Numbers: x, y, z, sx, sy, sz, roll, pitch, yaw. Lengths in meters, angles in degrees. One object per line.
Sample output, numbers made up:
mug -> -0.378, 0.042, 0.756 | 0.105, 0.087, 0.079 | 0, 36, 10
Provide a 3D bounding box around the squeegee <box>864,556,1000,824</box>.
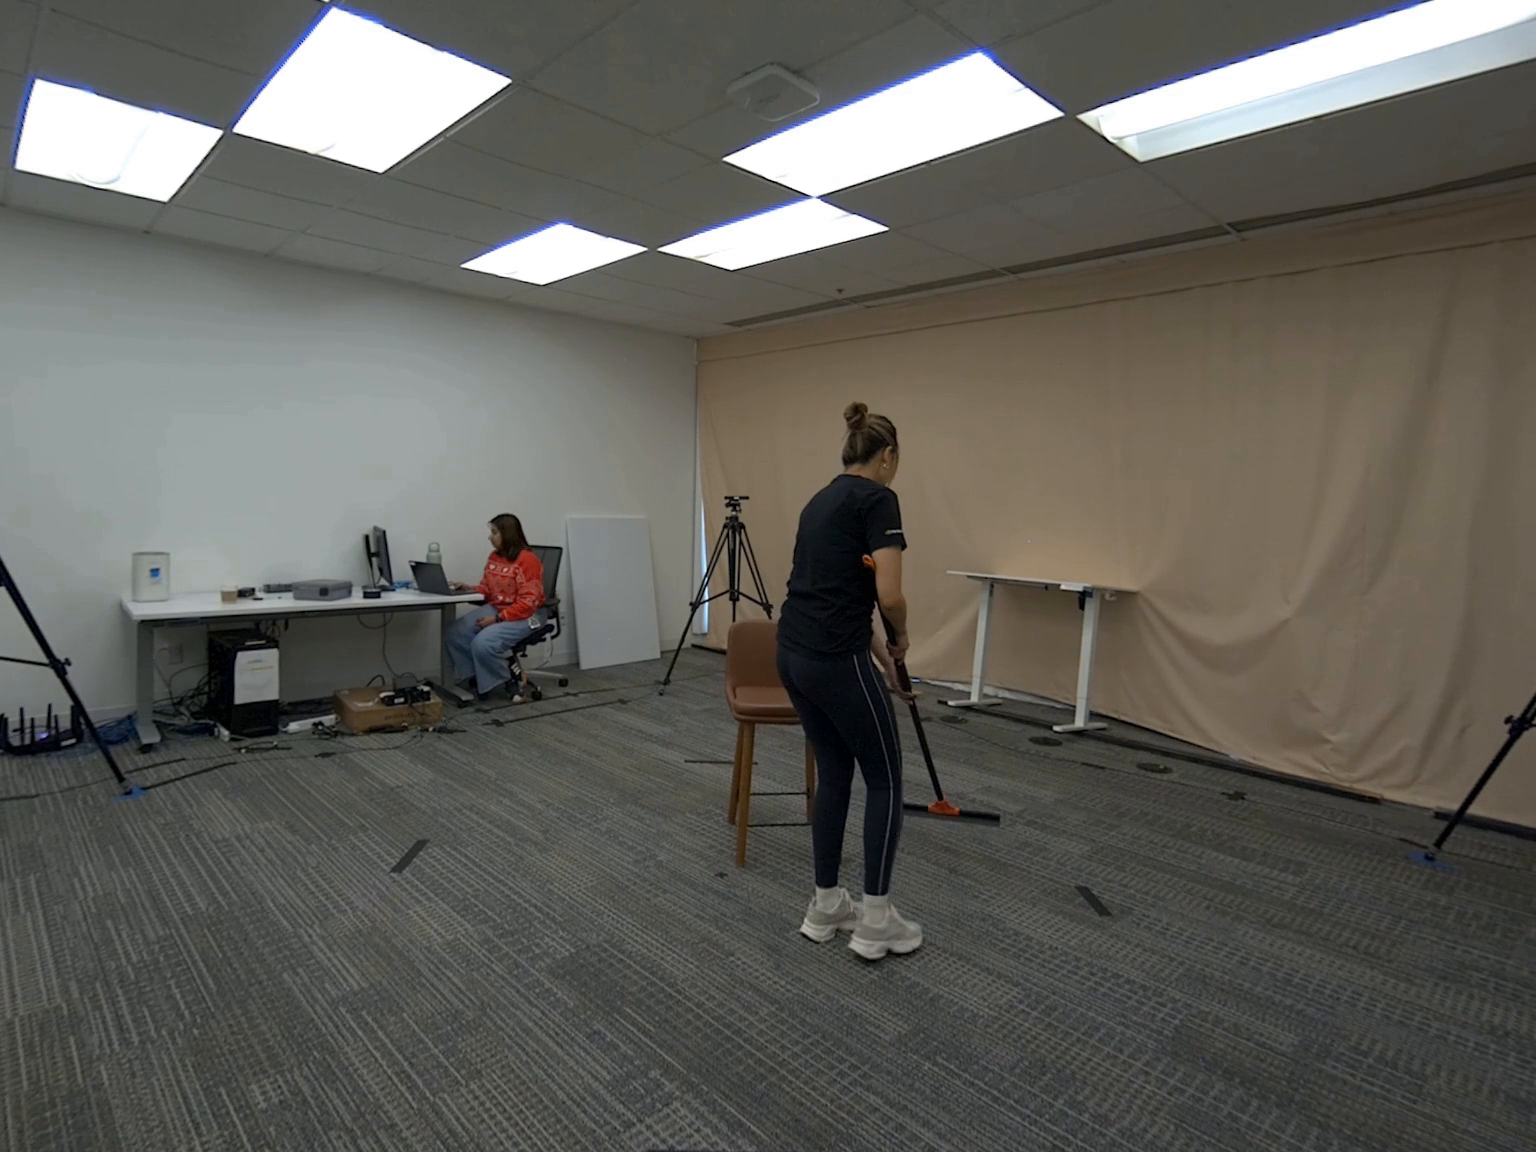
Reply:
squeegee -> 0.499, 0.469, 2.943 | 0.445, 0.053, 1.492 | 2, -41, 24
